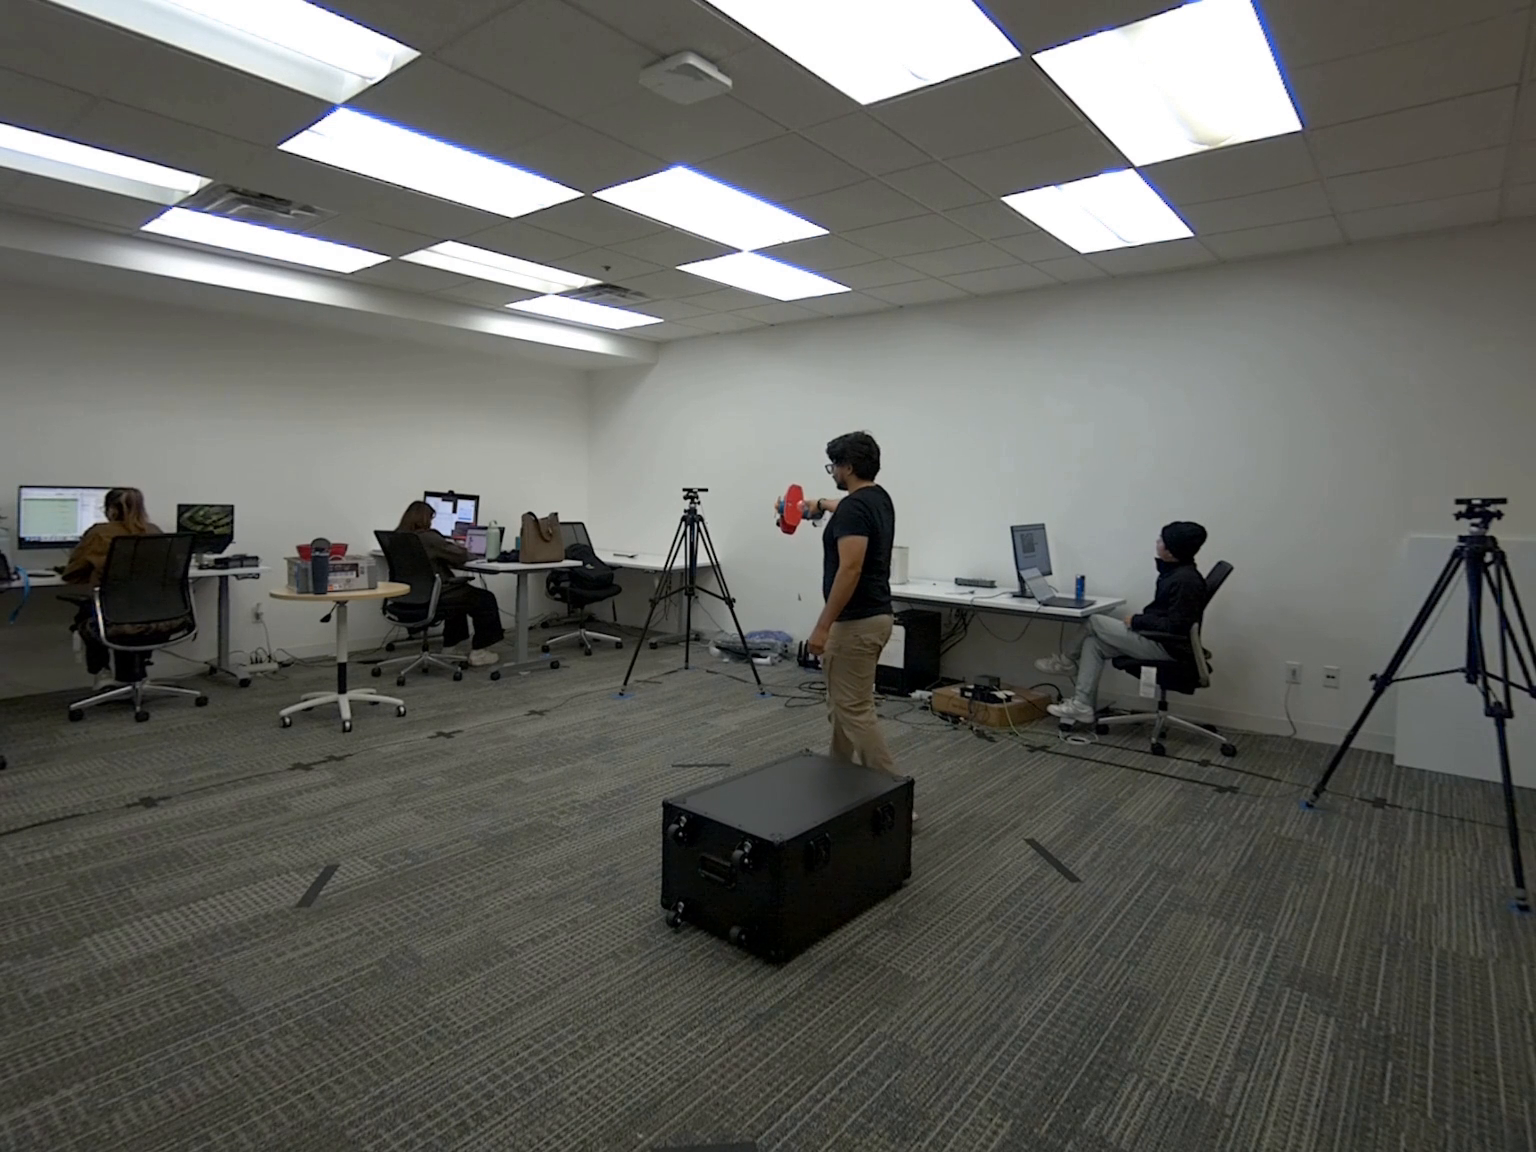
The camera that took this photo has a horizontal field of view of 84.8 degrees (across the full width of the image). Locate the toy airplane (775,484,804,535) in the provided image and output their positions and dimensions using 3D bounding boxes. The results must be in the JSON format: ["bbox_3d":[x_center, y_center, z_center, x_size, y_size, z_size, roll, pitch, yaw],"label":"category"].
[{"bbox_3d":[0.154,-0.353,4.398,0.257,0.260,0.152,-19,-31,-10],"label":"toy airplane"}]
